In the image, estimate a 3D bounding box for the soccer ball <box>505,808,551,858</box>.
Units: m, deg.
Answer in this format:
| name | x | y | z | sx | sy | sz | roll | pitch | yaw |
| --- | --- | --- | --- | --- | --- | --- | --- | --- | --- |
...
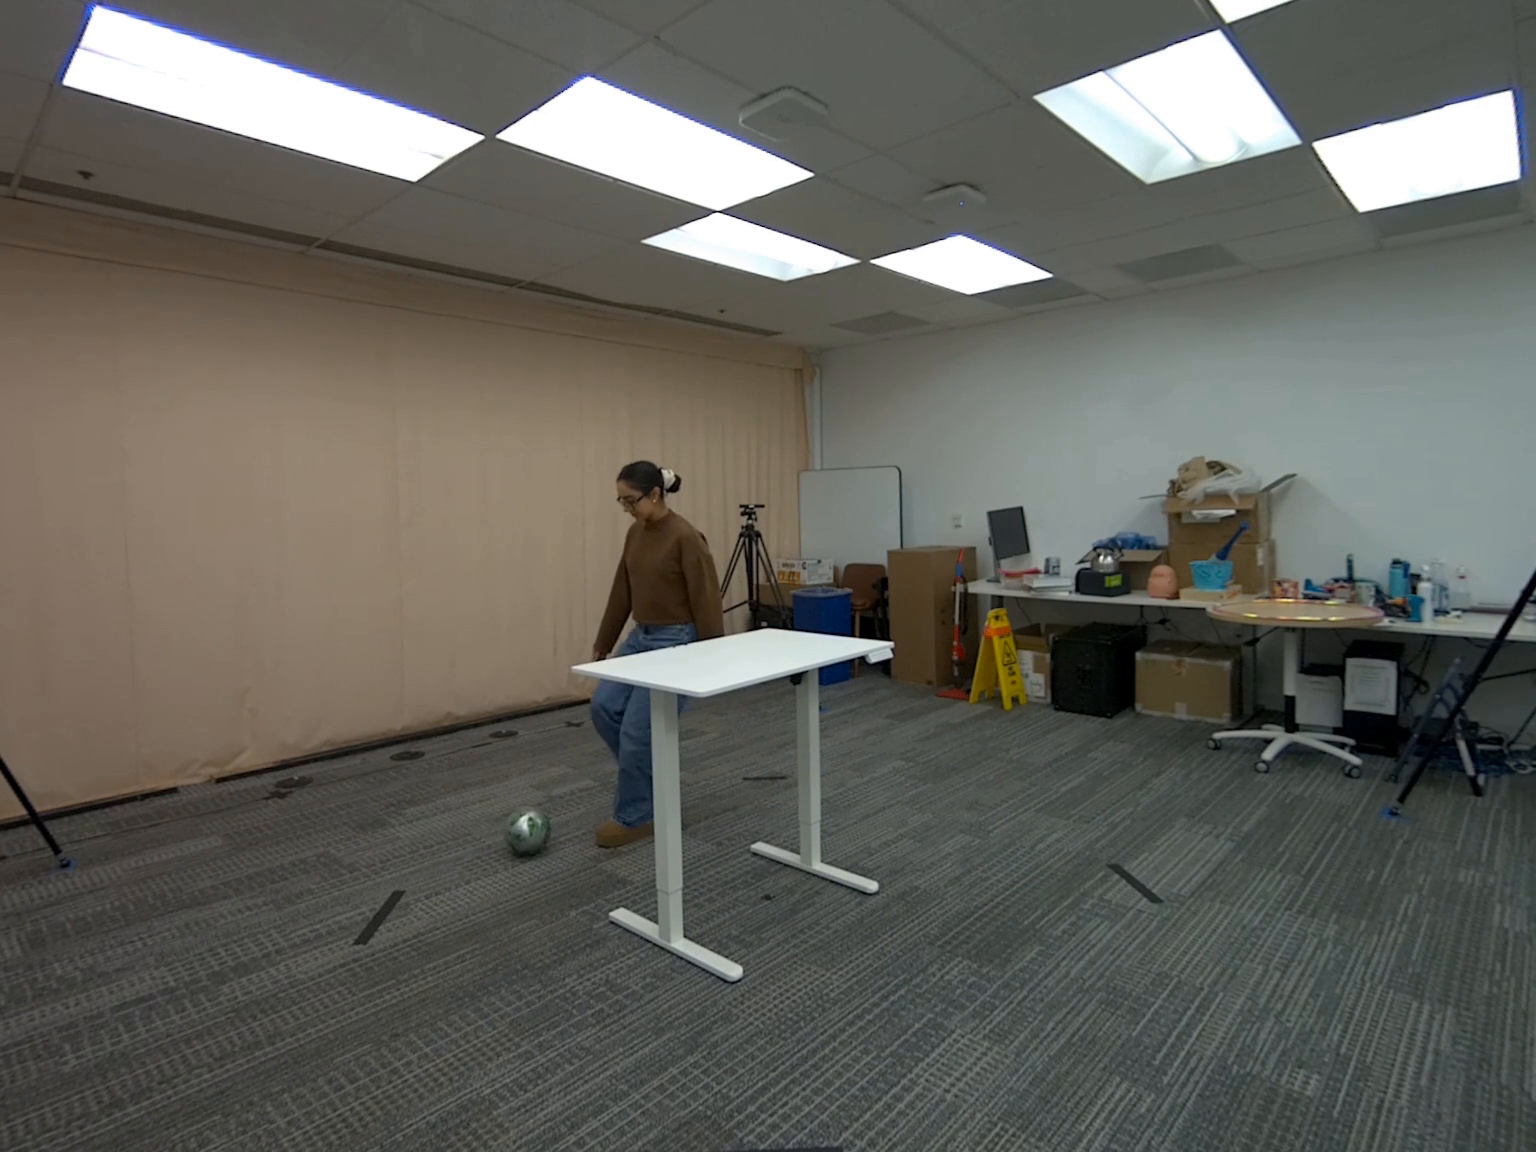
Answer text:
| name | x | y | z | sx | sy | sz | roll | pitch | yaw |
| --- | --- | --- | --- | --- | --- | --- | --- | --- | --- |
| soccer ball | -0.975 | 1.034 | 3.409 | 0.187 | 0.187 | 0.188 | -1 | 4 | -2 |
